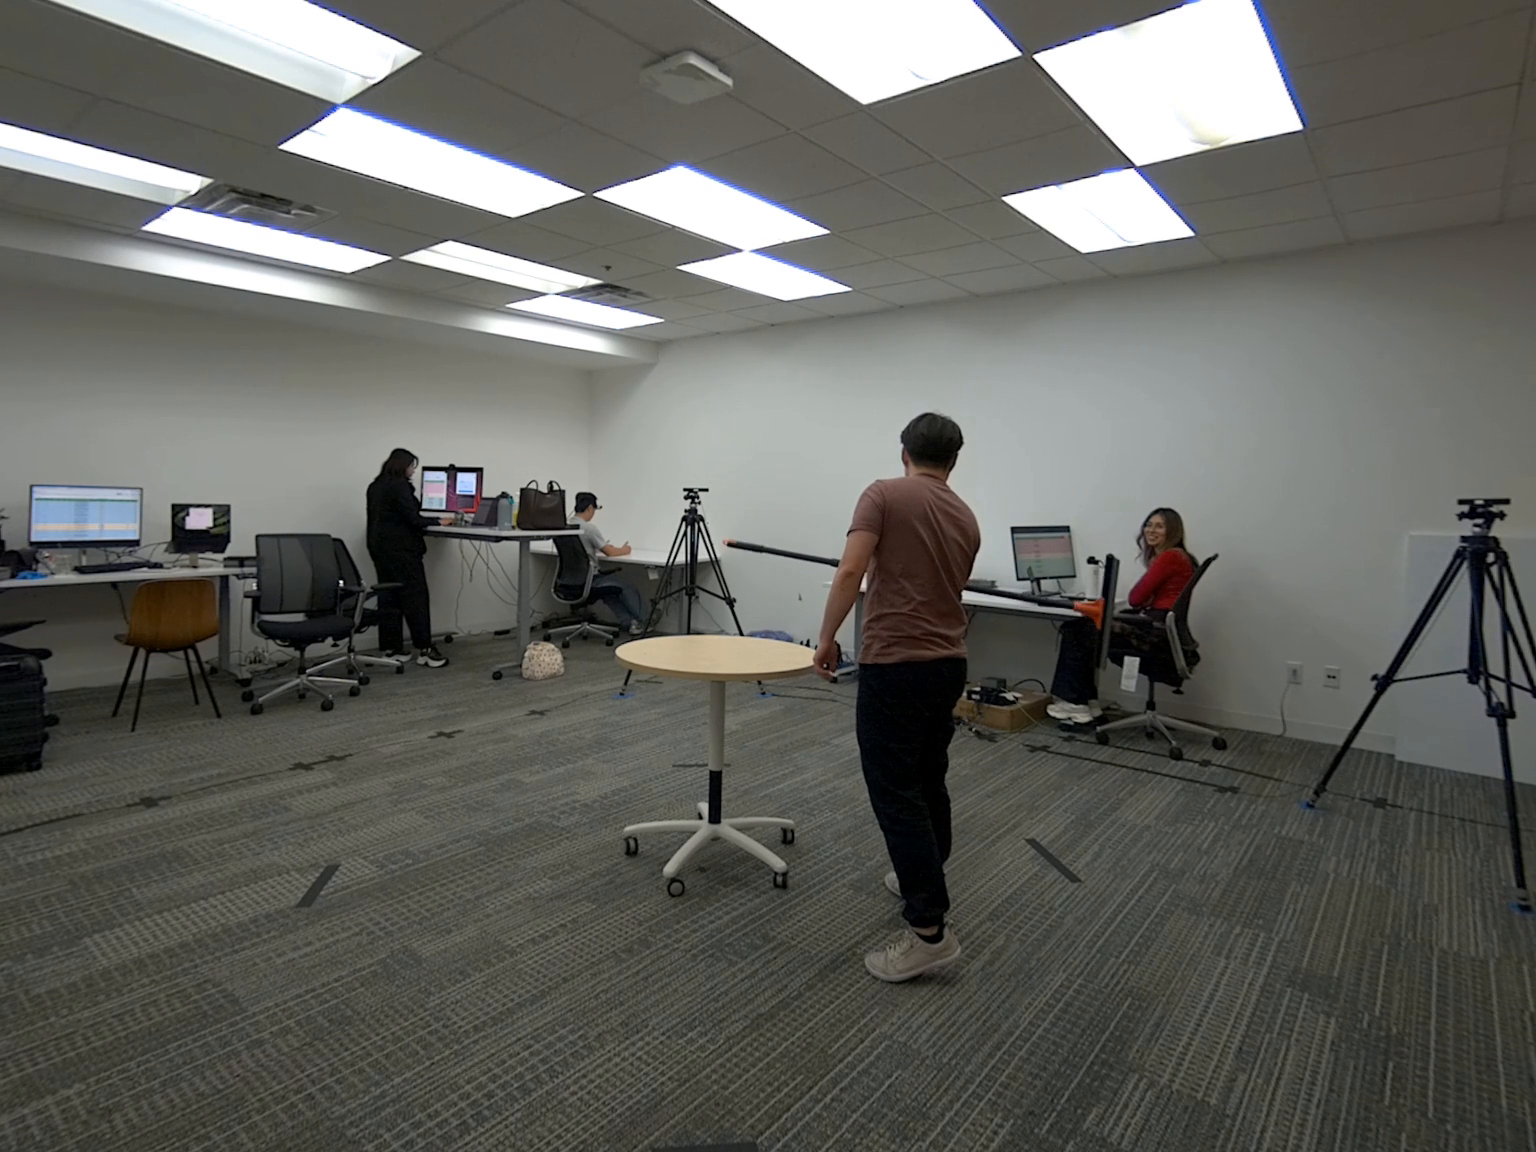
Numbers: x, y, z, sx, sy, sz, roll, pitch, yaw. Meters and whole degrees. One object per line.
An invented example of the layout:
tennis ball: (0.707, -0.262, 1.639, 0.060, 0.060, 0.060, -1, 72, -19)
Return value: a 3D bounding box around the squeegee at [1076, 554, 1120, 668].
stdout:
squeegee: (0.488, -0.016, 3.273, 1.587, 0.429, 0.052, 12, 25, 29)
